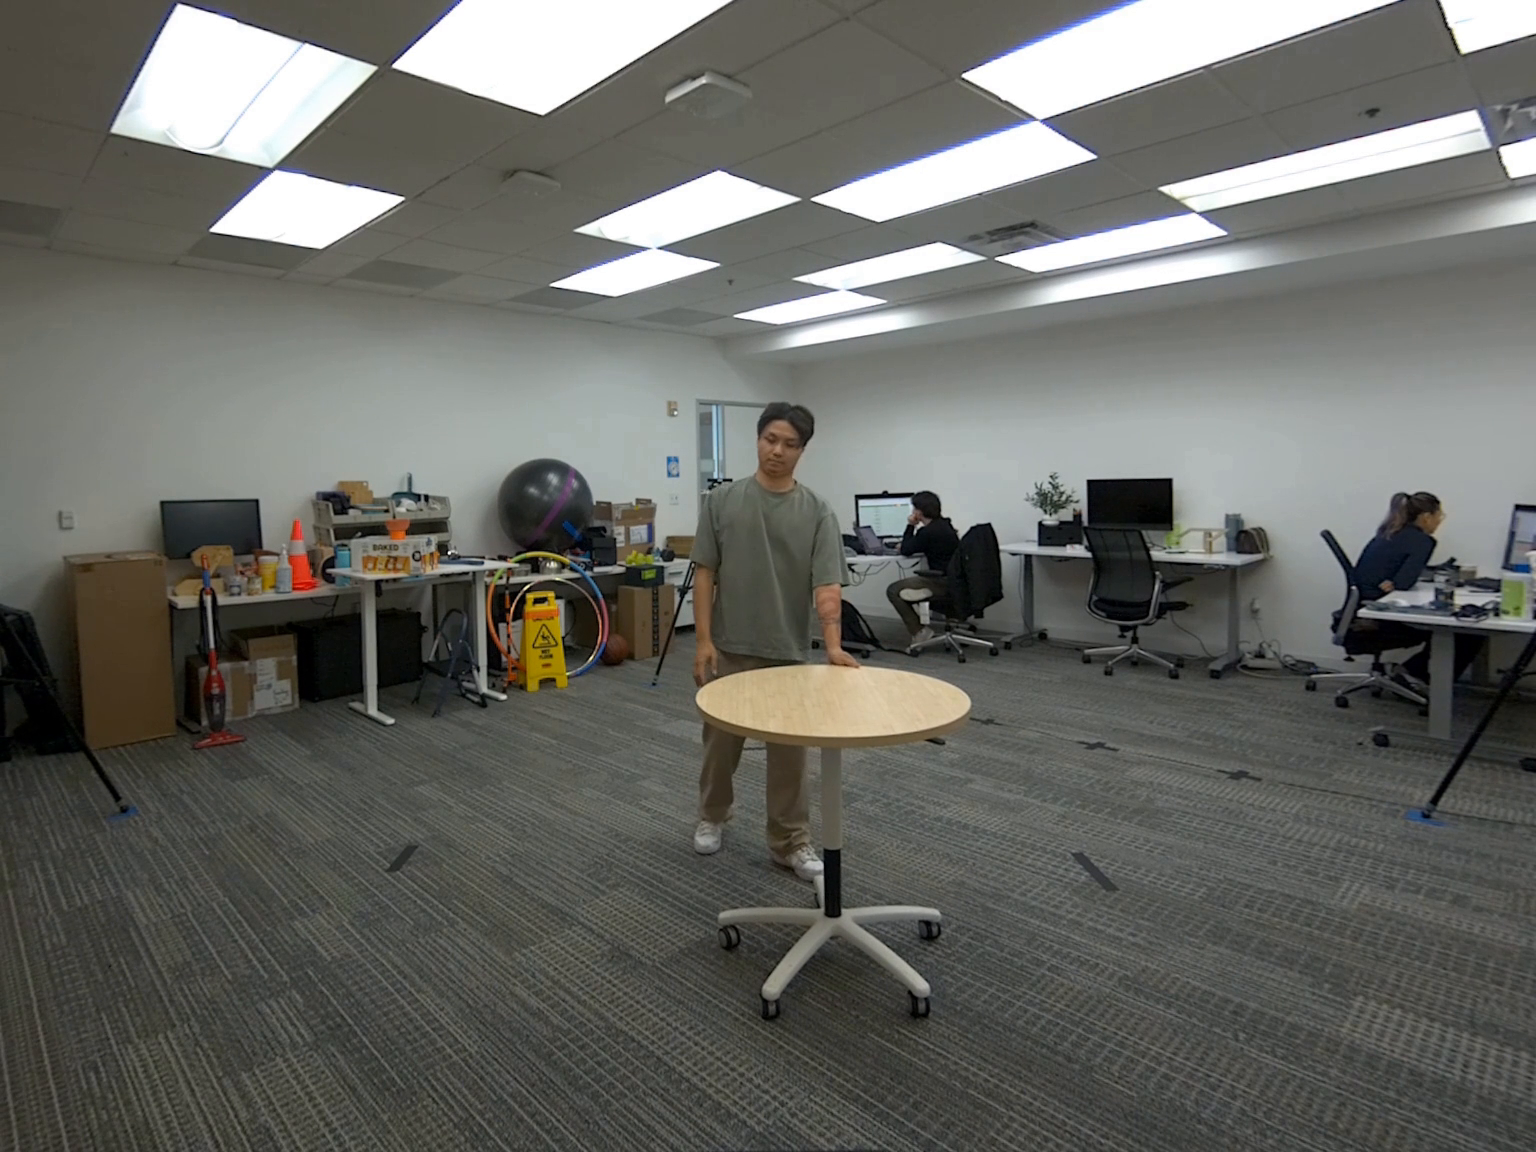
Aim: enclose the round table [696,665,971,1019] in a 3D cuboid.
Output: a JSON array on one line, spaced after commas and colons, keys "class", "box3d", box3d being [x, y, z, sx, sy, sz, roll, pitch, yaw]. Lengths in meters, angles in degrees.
[{"class": "round table", "box3d": [0.177, 0.731, 2.437, 0.784, 0.783, 0.789, -1, 5, -2]}]
